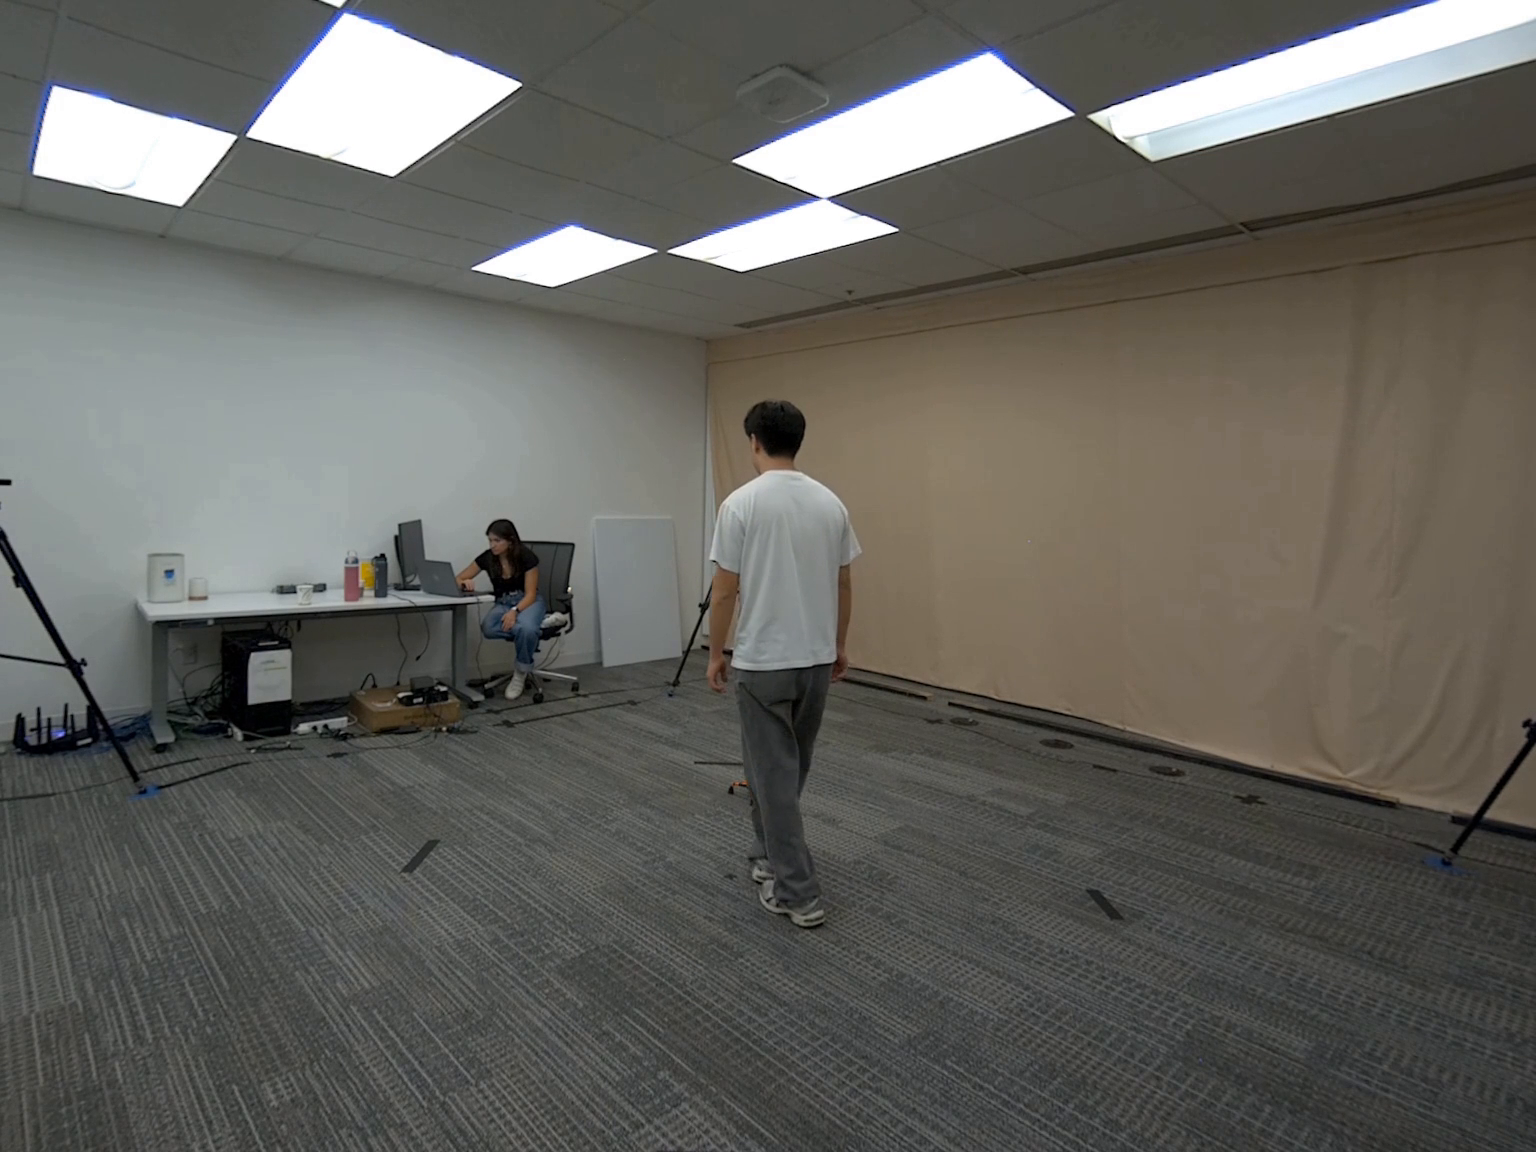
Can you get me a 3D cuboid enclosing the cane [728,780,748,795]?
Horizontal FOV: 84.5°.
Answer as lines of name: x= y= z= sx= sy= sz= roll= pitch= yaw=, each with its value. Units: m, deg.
cane: x=-0.064 y=0.590 z=3.937 sx=0.148 sy=0.906 sz=0.211 roll=1 pitch=2 yaw=-34
